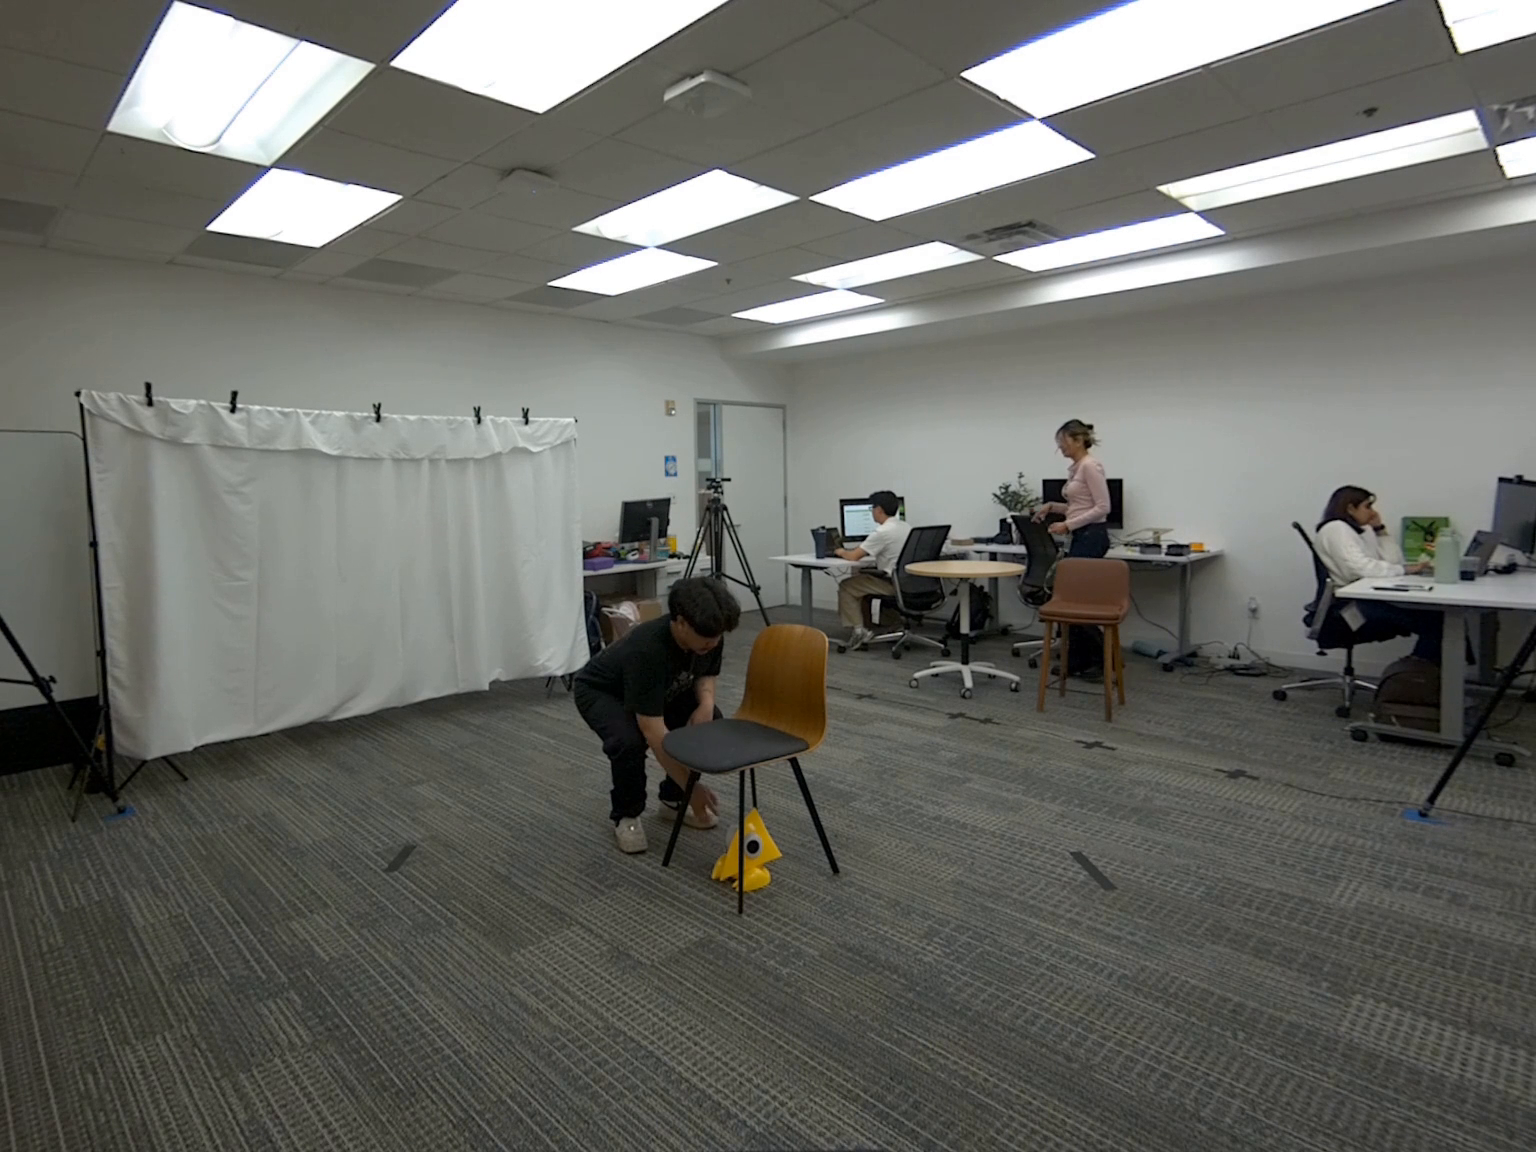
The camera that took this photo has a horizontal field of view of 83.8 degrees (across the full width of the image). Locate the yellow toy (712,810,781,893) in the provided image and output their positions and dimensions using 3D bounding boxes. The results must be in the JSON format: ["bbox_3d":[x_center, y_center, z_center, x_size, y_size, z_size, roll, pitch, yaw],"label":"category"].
[{"bbox_3d":[-0.087,0.945,2.990,0.188,0.230,0.211,-7,7,-43],"label":"yellow toy"}]
